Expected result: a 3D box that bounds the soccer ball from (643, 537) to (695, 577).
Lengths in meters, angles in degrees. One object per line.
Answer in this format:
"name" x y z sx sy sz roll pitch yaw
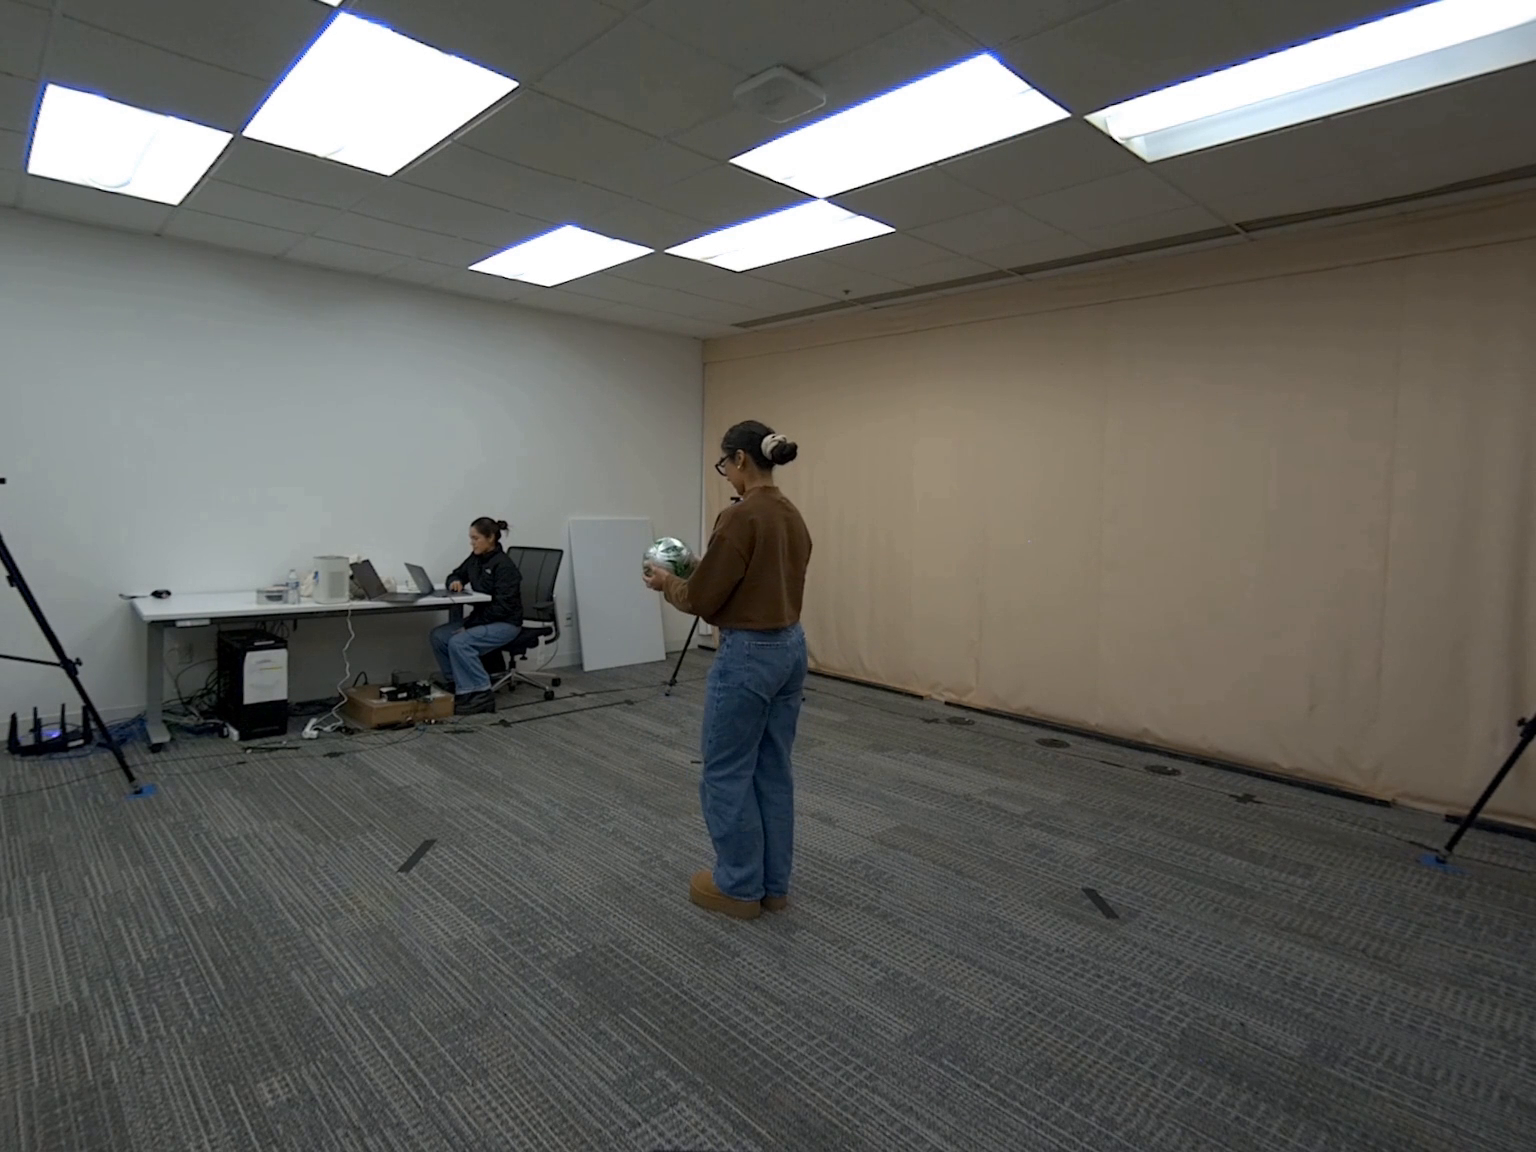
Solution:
"soccer ball" -0.356 -0.045 2.996 0.187 0.187 0.188 1 4 -1
